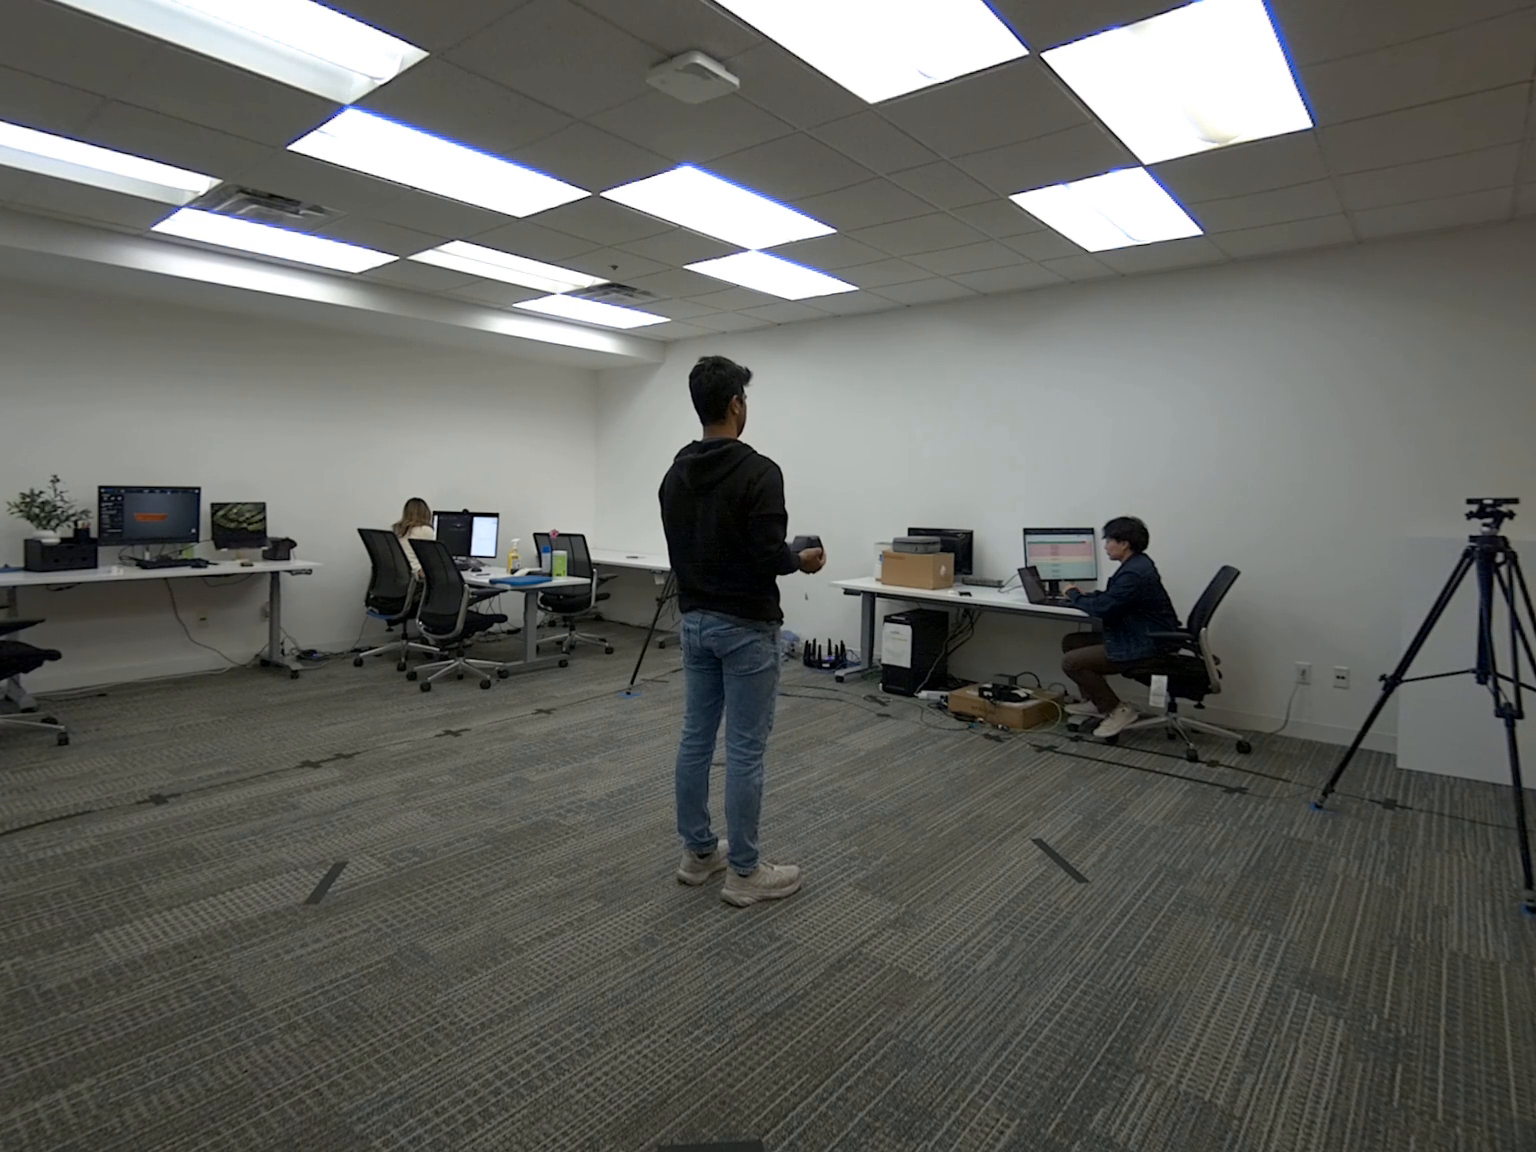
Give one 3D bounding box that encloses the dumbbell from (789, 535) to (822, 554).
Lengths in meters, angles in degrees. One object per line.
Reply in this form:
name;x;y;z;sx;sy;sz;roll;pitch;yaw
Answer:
dumbbell;0.047;-0.107;3.149;0.303;0.119;0.108;5;38;43
